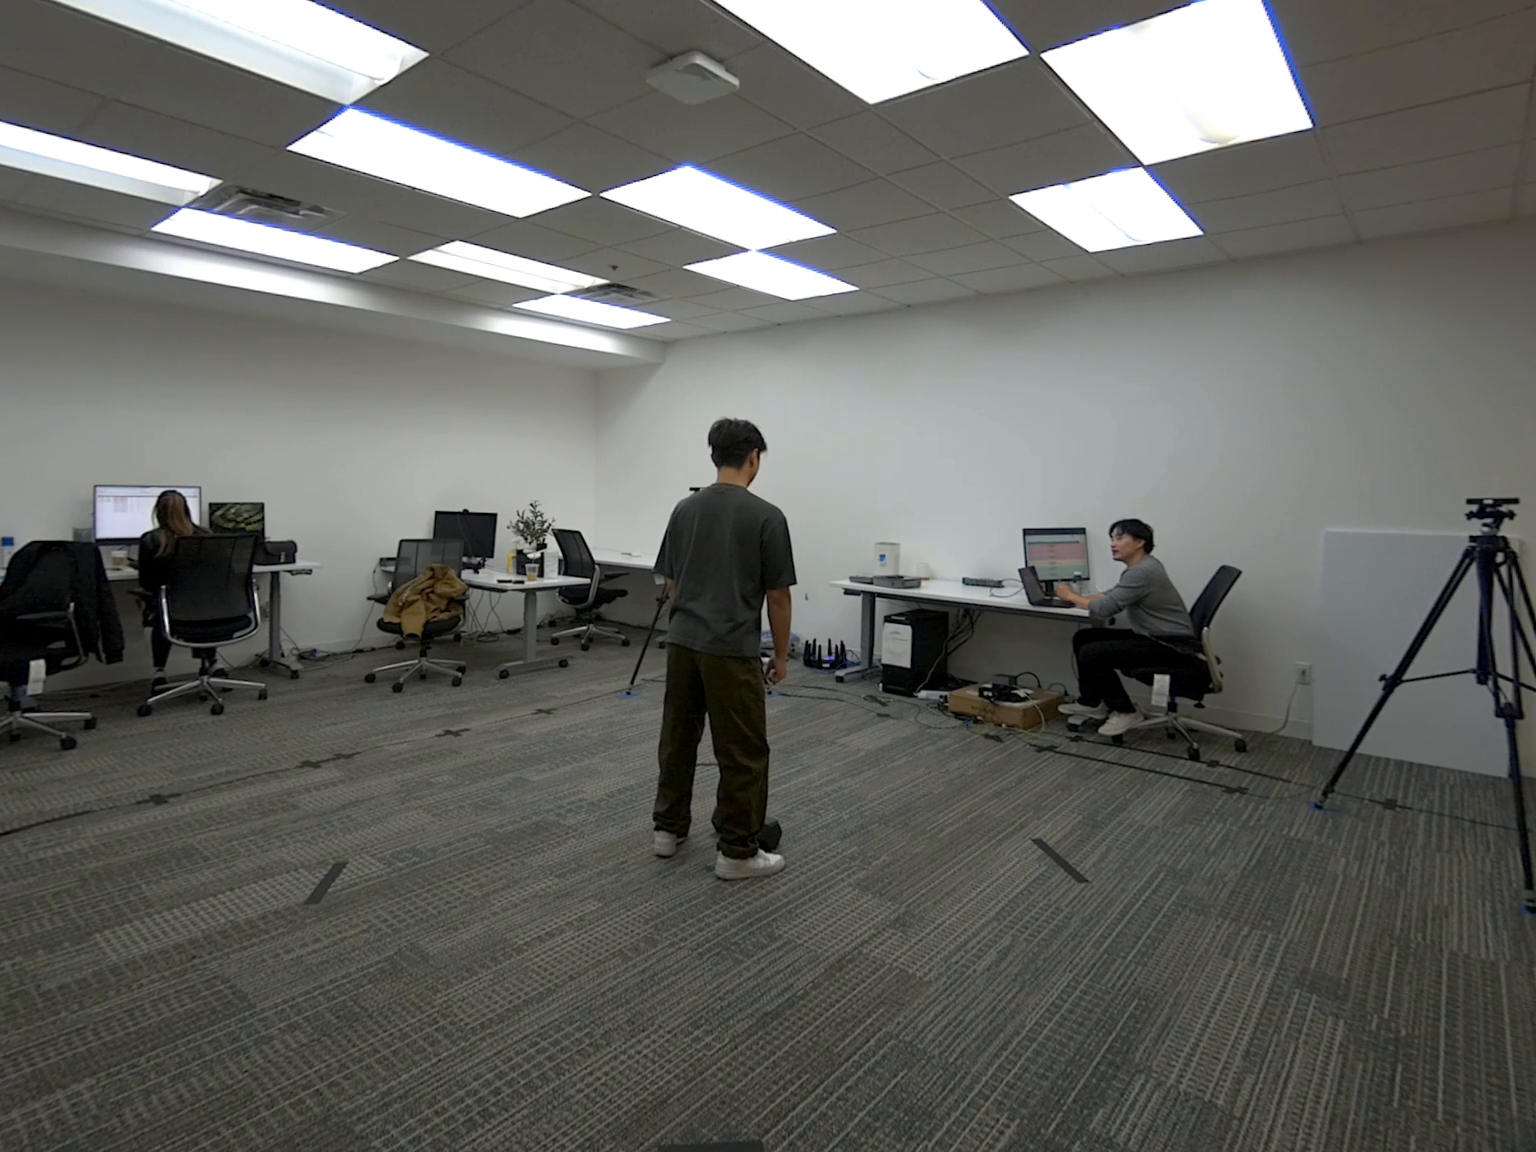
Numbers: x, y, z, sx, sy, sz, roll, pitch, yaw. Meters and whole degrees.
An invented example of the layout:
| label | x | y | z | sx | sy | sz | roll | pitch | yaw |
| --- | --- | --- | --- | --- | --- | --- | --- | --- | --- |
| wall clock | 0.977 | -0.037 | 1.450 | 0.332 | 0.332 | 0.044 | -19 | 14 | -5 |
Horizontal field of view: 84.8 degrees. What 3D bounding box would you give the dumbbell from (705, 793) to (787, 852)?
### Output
| label | x | y | z | sx | sy | sz | roll | pitch | yaw |
| --- | --- | --- | --- | --- | --- | --- | --- | --- | --- |
| dumbbell | -0.094 | 0.983 | 3.368 | 0.304 | 0.124 | 0.104 | 6 | -24 | 42 |
